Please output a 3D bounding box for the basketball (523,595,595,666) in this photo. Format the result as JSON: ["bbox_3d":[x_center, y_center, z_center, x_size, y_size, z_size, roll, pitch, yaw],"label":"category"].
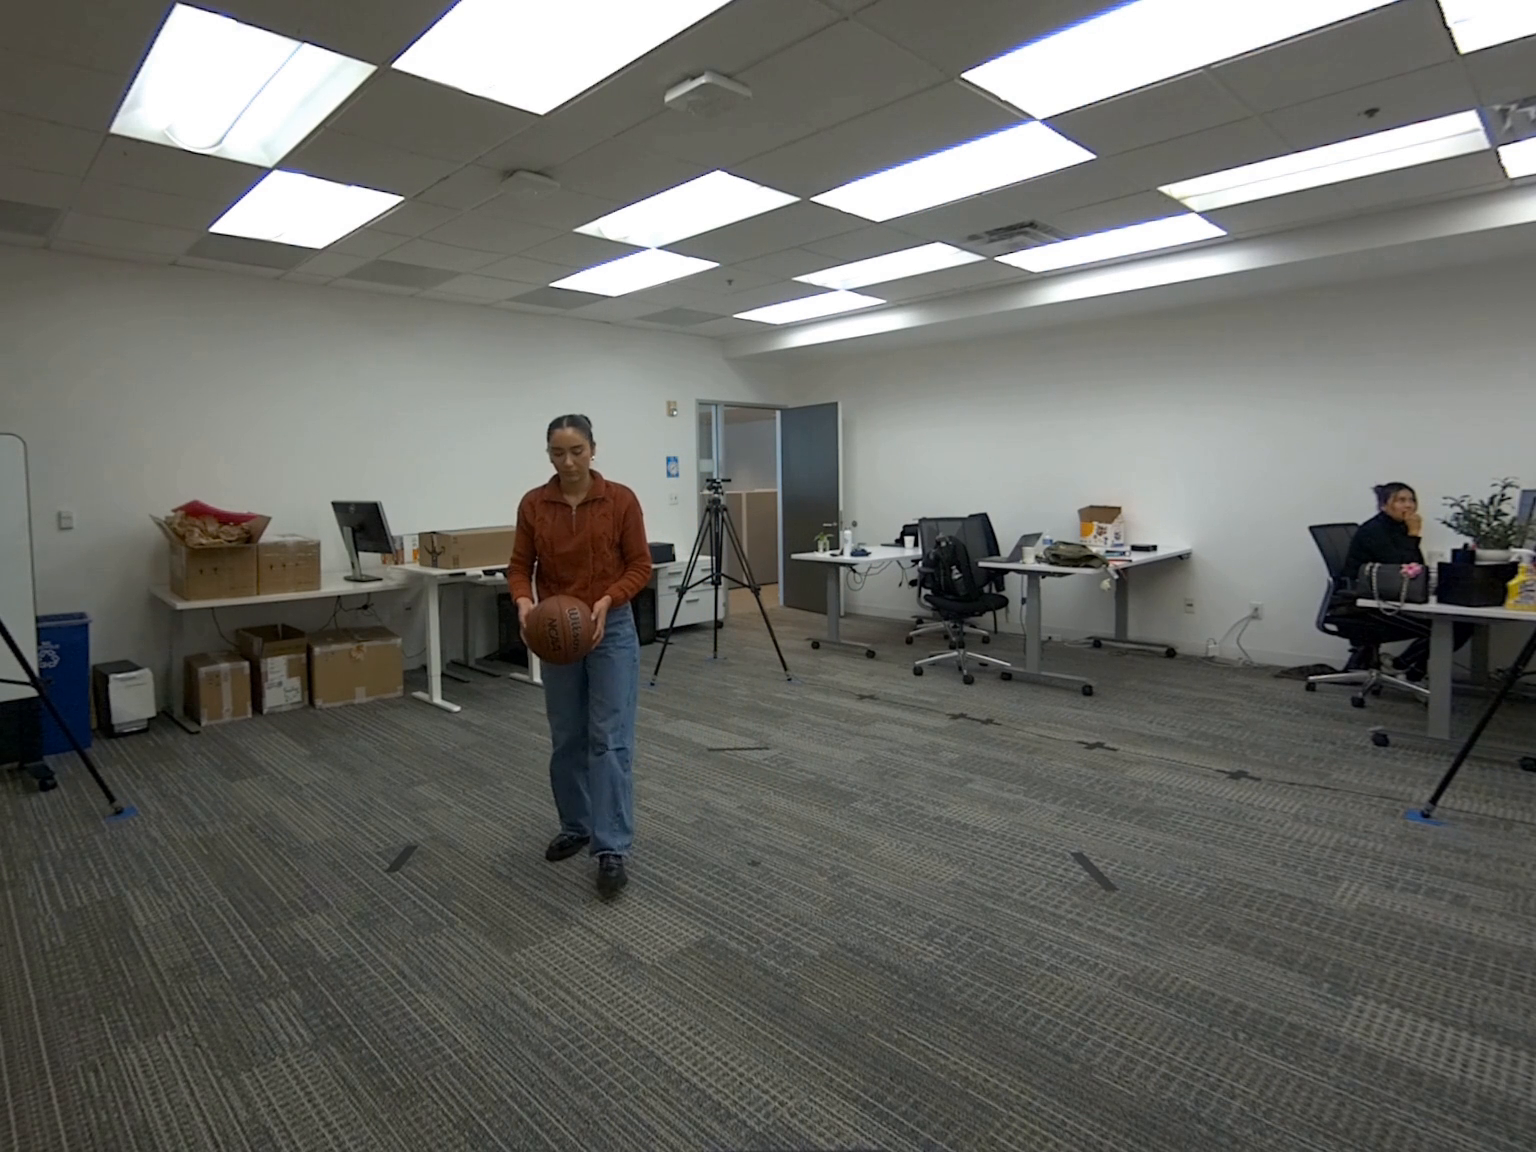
[{"bbox_3d":[-0.702,0.179,2.887,0.236,0.235,0.237,-1,5,-2],"label":"basketball"}]
